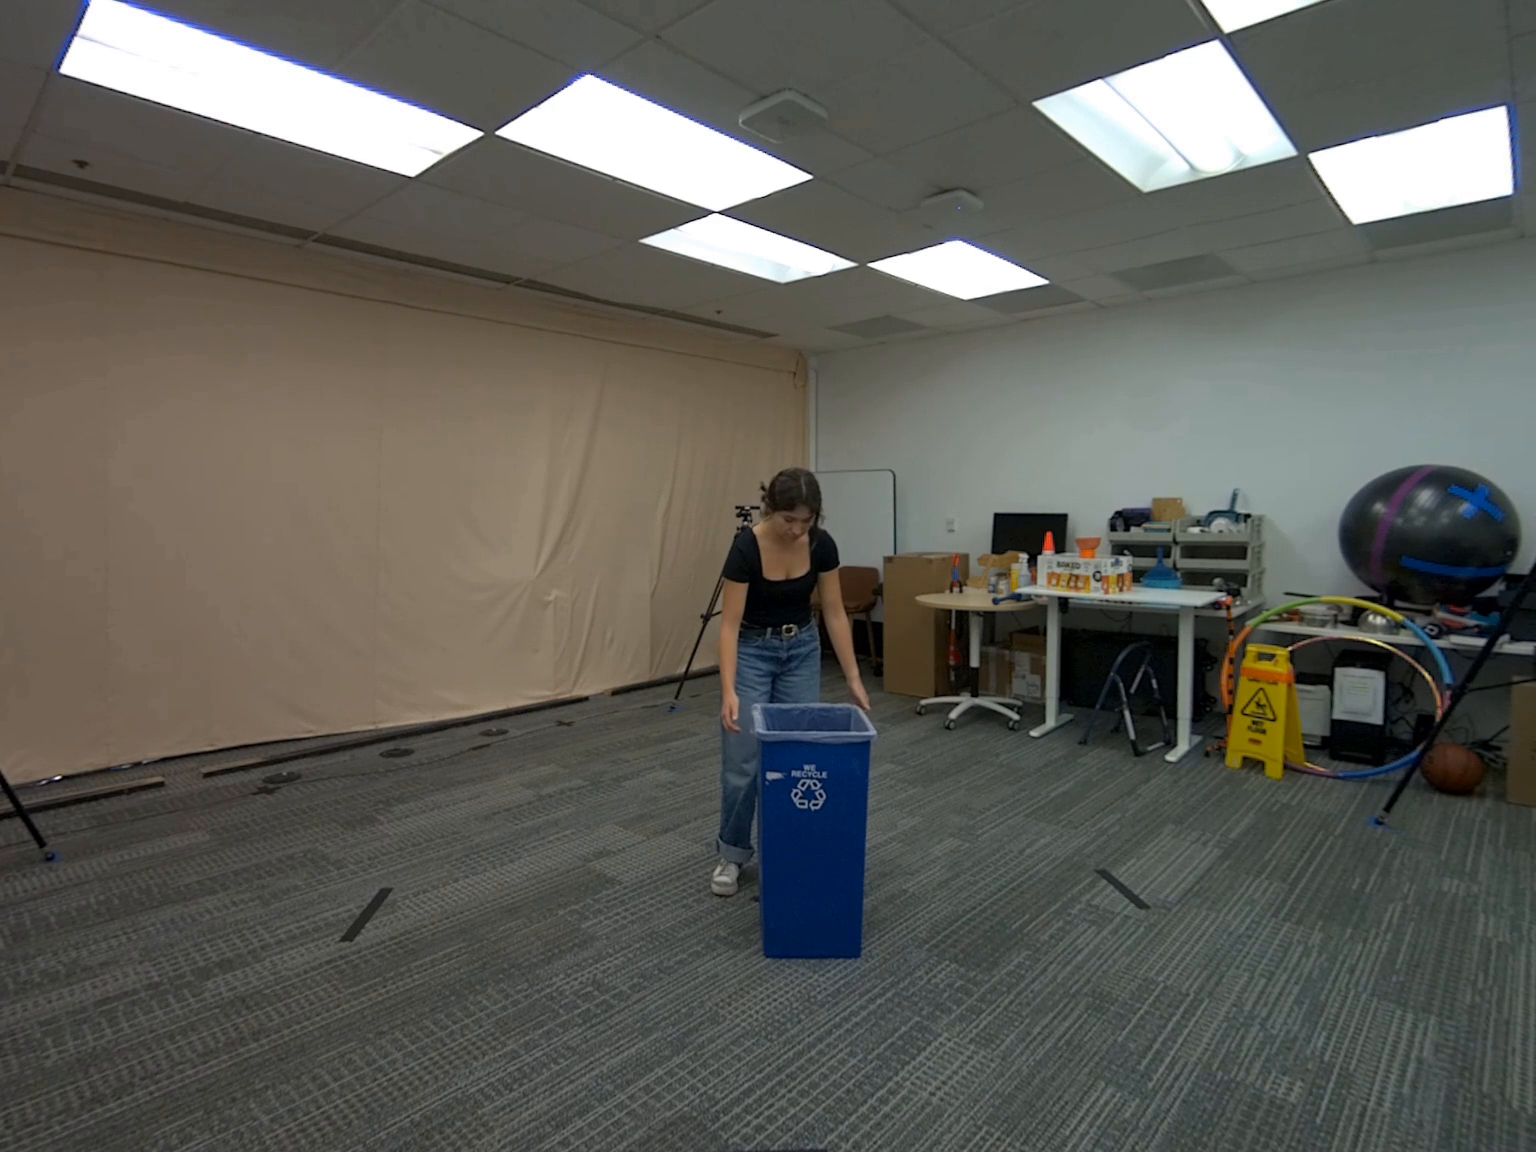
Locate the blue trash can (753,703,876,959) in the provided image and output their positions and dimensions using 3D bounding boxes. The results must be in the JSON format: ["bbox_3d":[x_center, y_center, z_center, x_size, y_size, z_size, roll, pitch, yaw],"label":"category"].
[{"bbox_3d":[0.145,0.810,2.720,0.374,0.712,0.379,0,4,-1],"label":"blue trash can"}]
